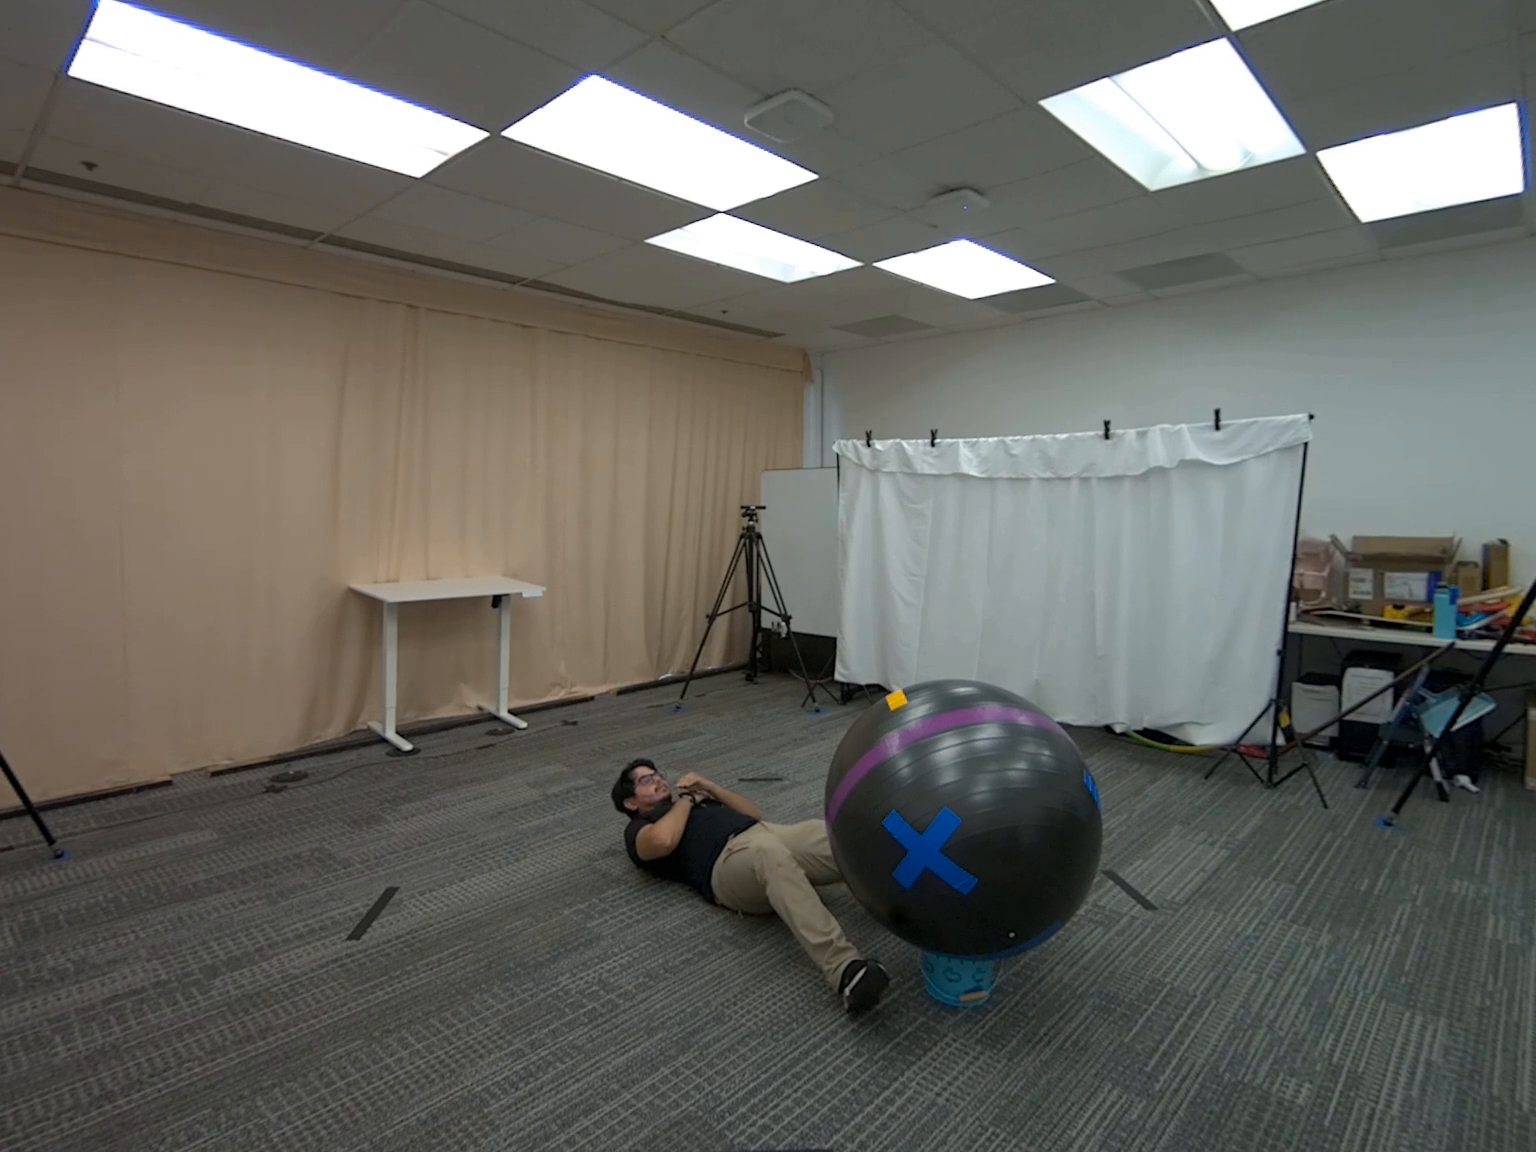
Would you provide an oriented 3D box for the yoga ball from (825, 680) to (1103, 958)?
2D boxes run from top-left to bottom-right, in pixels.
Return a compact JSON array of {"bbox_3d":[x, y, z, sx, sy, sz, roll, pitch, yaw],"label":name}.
[{"bbox_3d":[0.550,0.686,2.402,0.757,0.756,0.760,0,4,-2],"label":"yoga ball"}]
